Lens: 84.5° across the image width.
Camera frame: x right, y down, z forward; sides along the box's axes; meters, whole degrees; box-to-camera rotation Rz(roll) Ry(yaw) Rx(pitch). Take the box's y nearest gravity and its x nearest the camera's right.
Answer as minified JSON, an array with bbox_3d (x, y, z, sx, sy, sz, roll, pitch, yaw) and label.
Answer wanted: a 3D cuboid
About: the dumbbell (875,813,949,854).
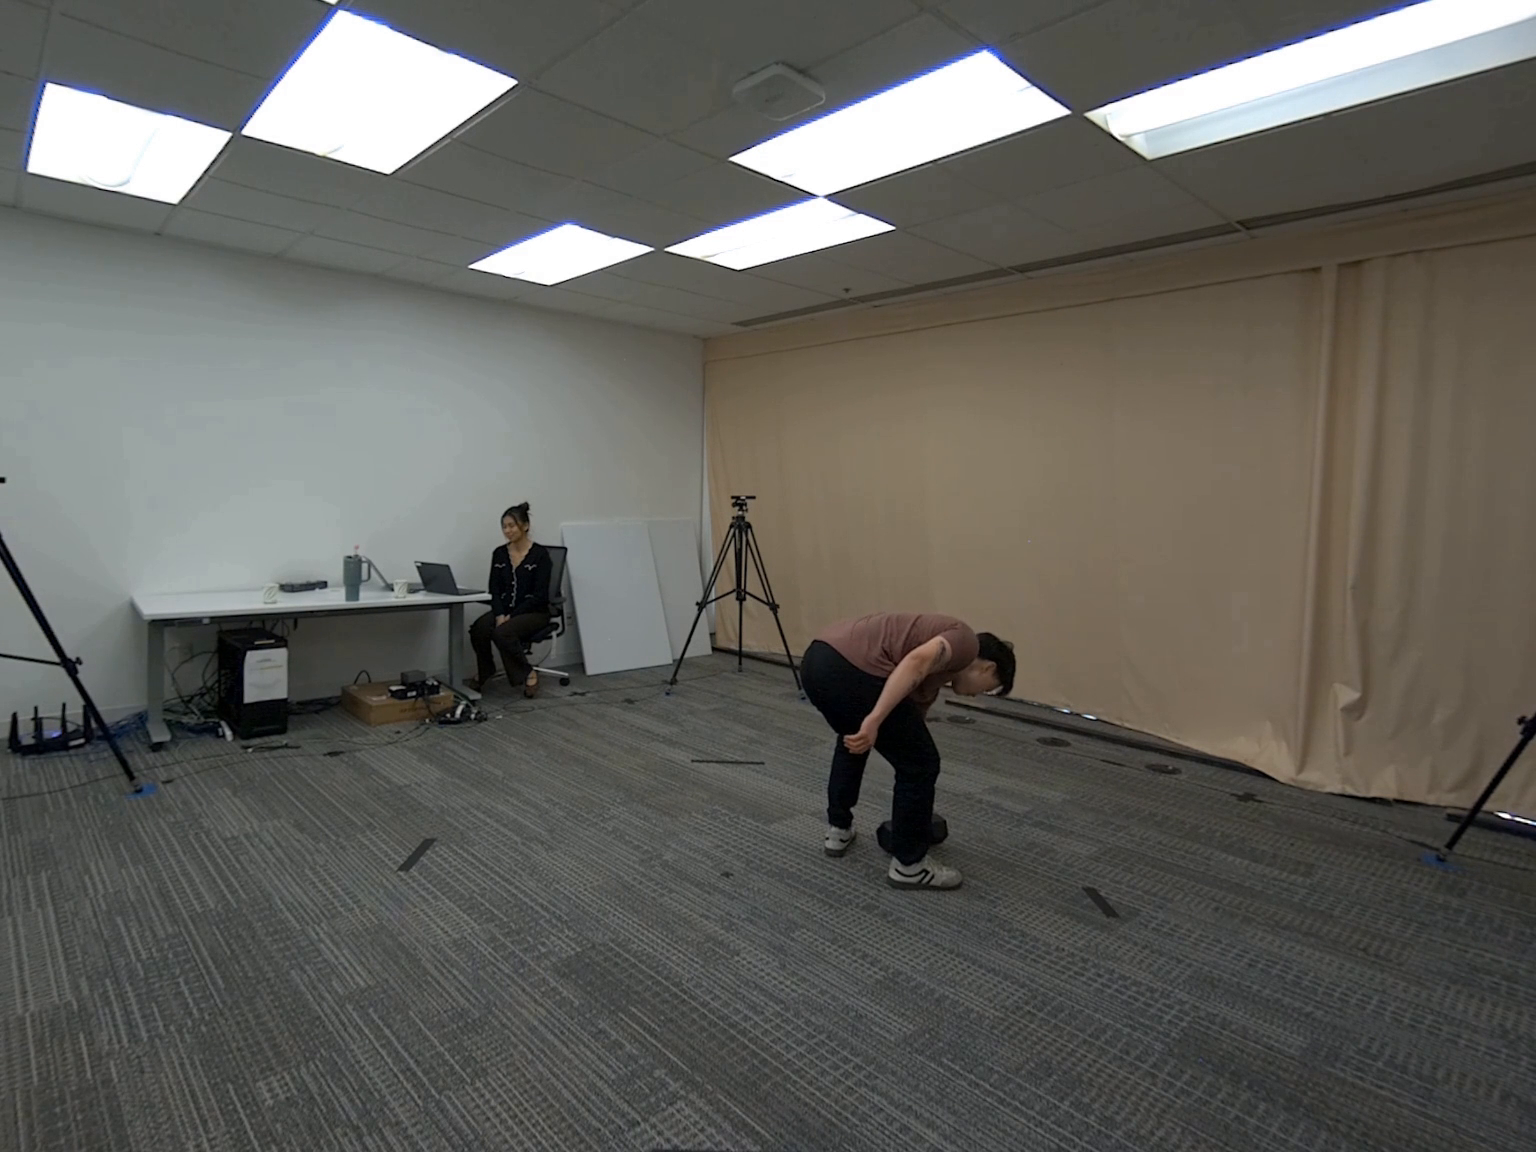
[{"bbox_3d":[0.565,1.019,3.343,0.287,0.122,0.112,-1,45,-31],"label":"dumbbell"}]
